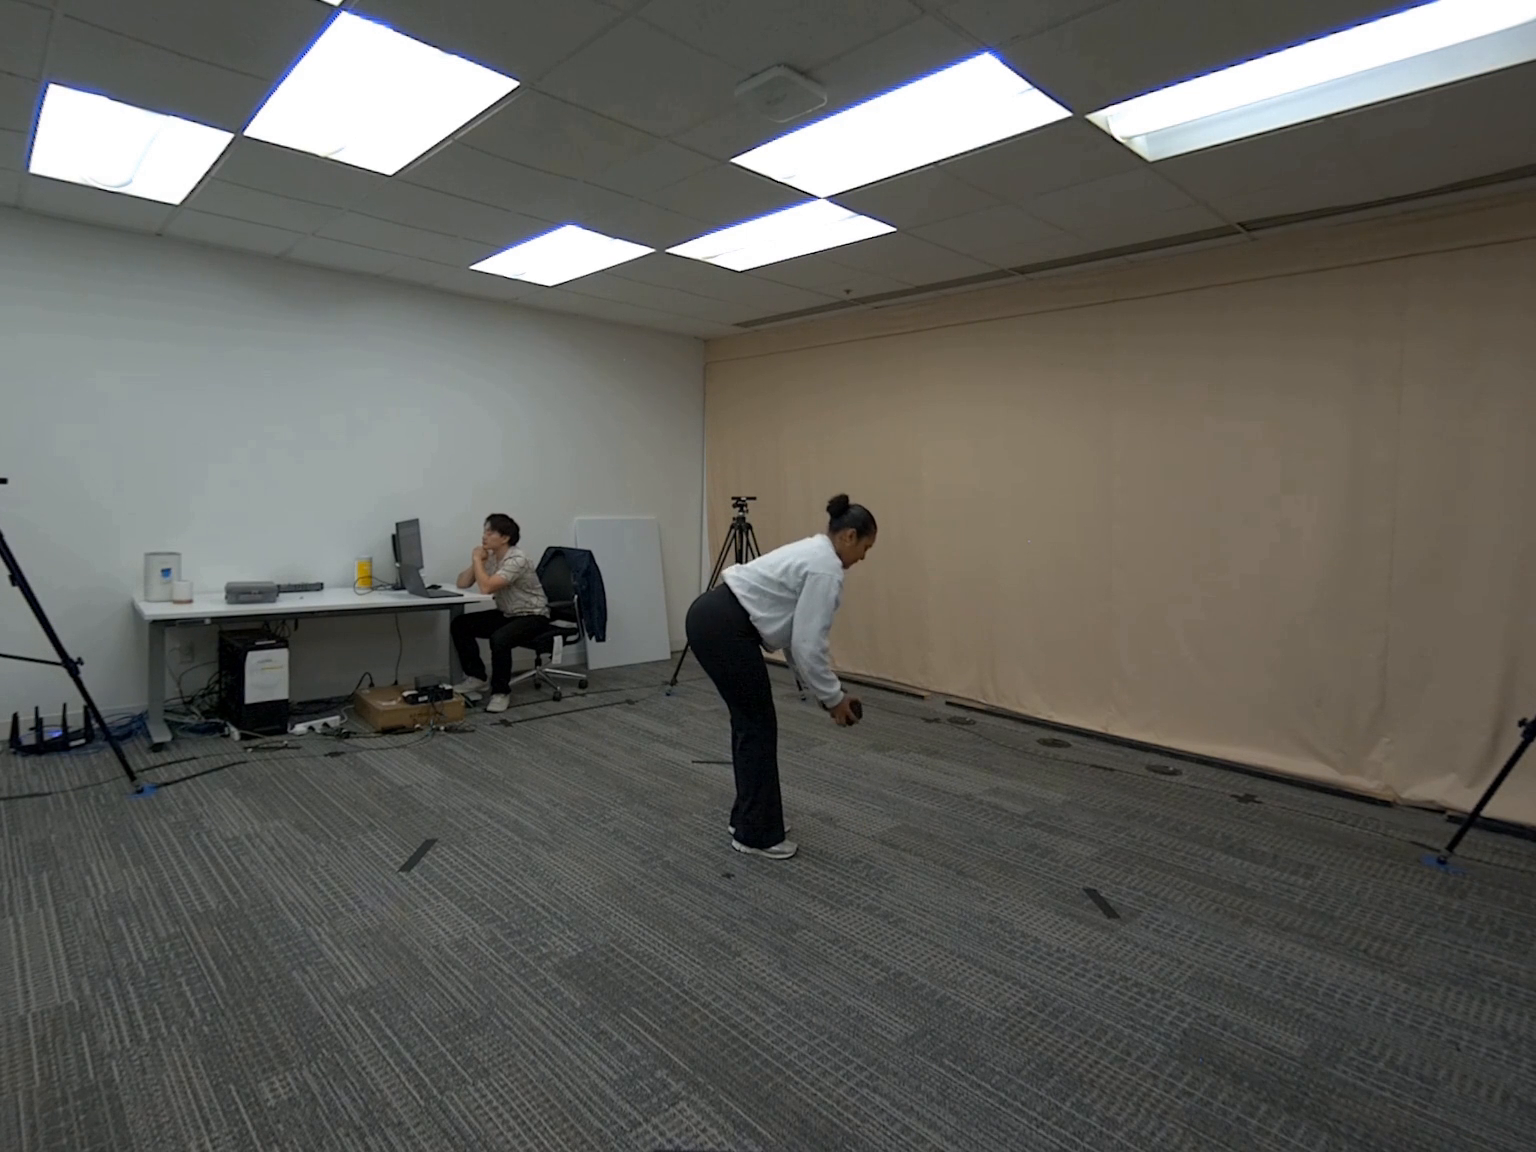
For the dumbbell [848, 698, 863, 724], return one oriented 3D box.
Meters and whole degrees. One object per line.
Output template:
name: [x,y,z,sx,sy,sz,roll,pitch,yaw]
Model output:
dumbbell: [0.289,0.518,3.417,0.123,0.108,0.295,-43,7,-7]
